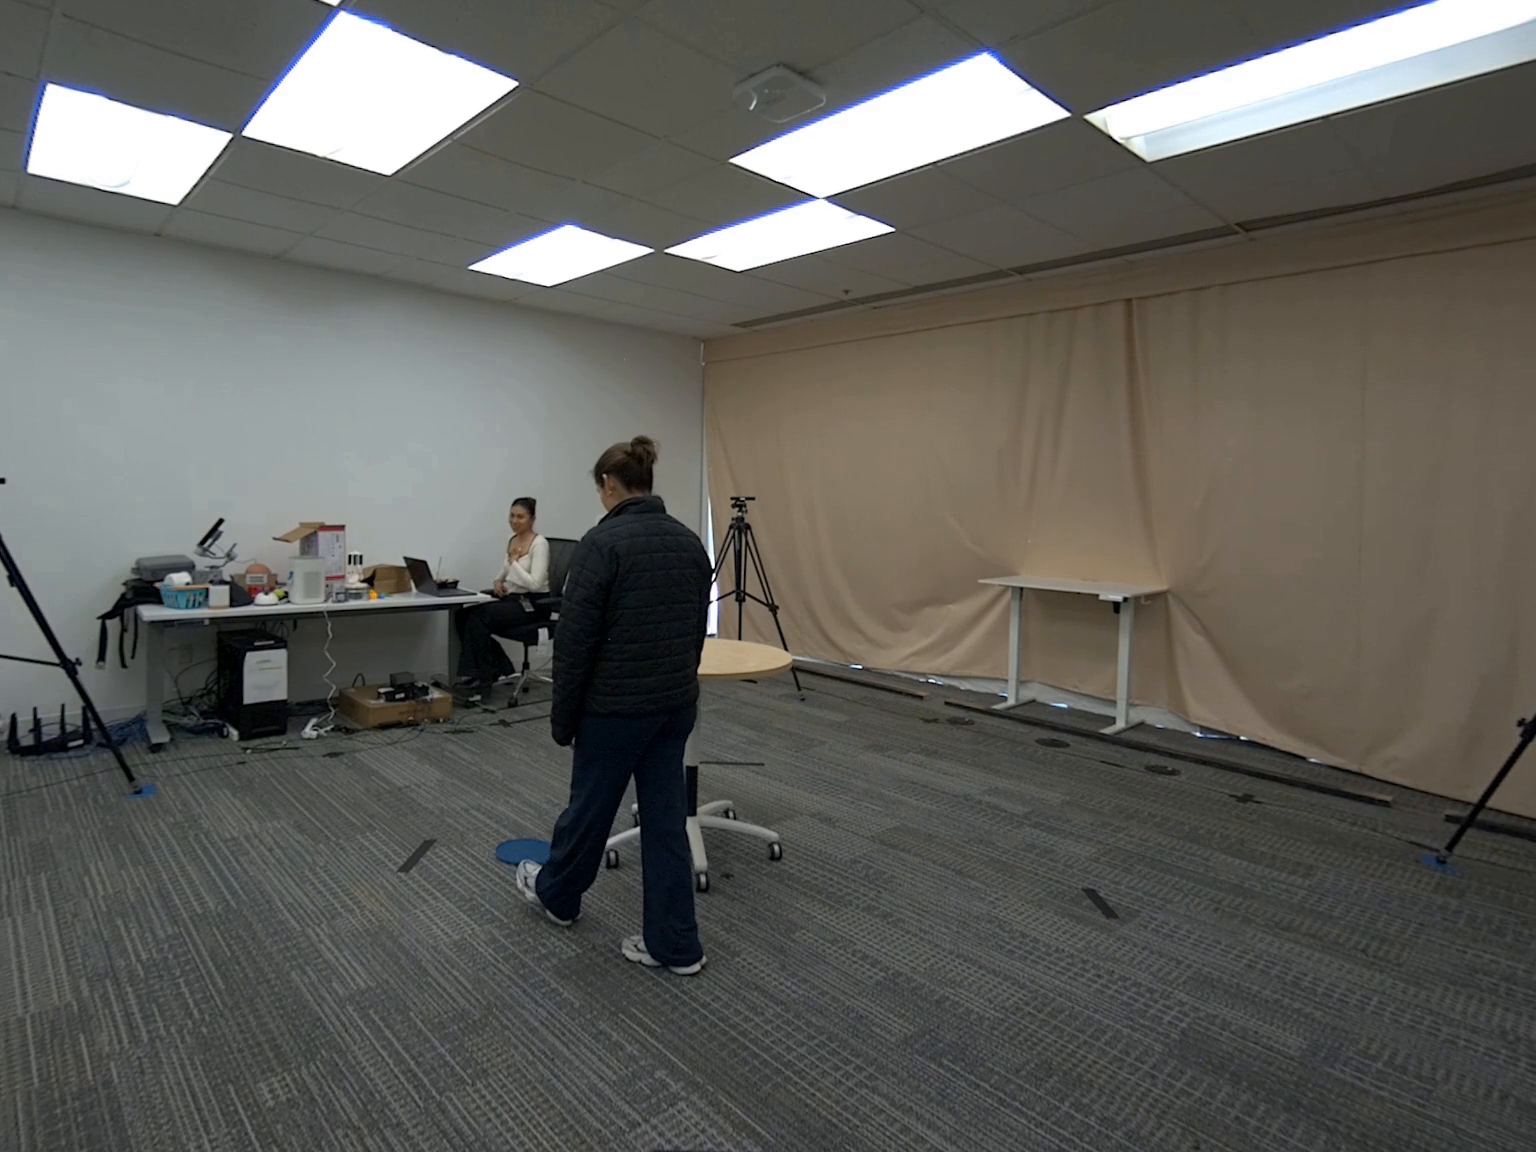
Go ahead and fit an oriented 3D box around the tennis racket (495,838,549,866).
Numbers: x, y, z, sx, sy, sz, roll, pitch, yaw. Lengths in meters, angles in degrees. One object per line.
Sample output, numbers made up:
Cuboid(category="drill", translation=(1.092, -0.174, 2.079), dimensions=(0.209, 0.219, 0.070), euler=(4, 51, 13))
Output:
Cuboid(category="tennis racket", translation=(-0.879, 1.069, 3.177), dimensions=(0.209, 0.032, 0.444), euler=(-3, 5, -44))
